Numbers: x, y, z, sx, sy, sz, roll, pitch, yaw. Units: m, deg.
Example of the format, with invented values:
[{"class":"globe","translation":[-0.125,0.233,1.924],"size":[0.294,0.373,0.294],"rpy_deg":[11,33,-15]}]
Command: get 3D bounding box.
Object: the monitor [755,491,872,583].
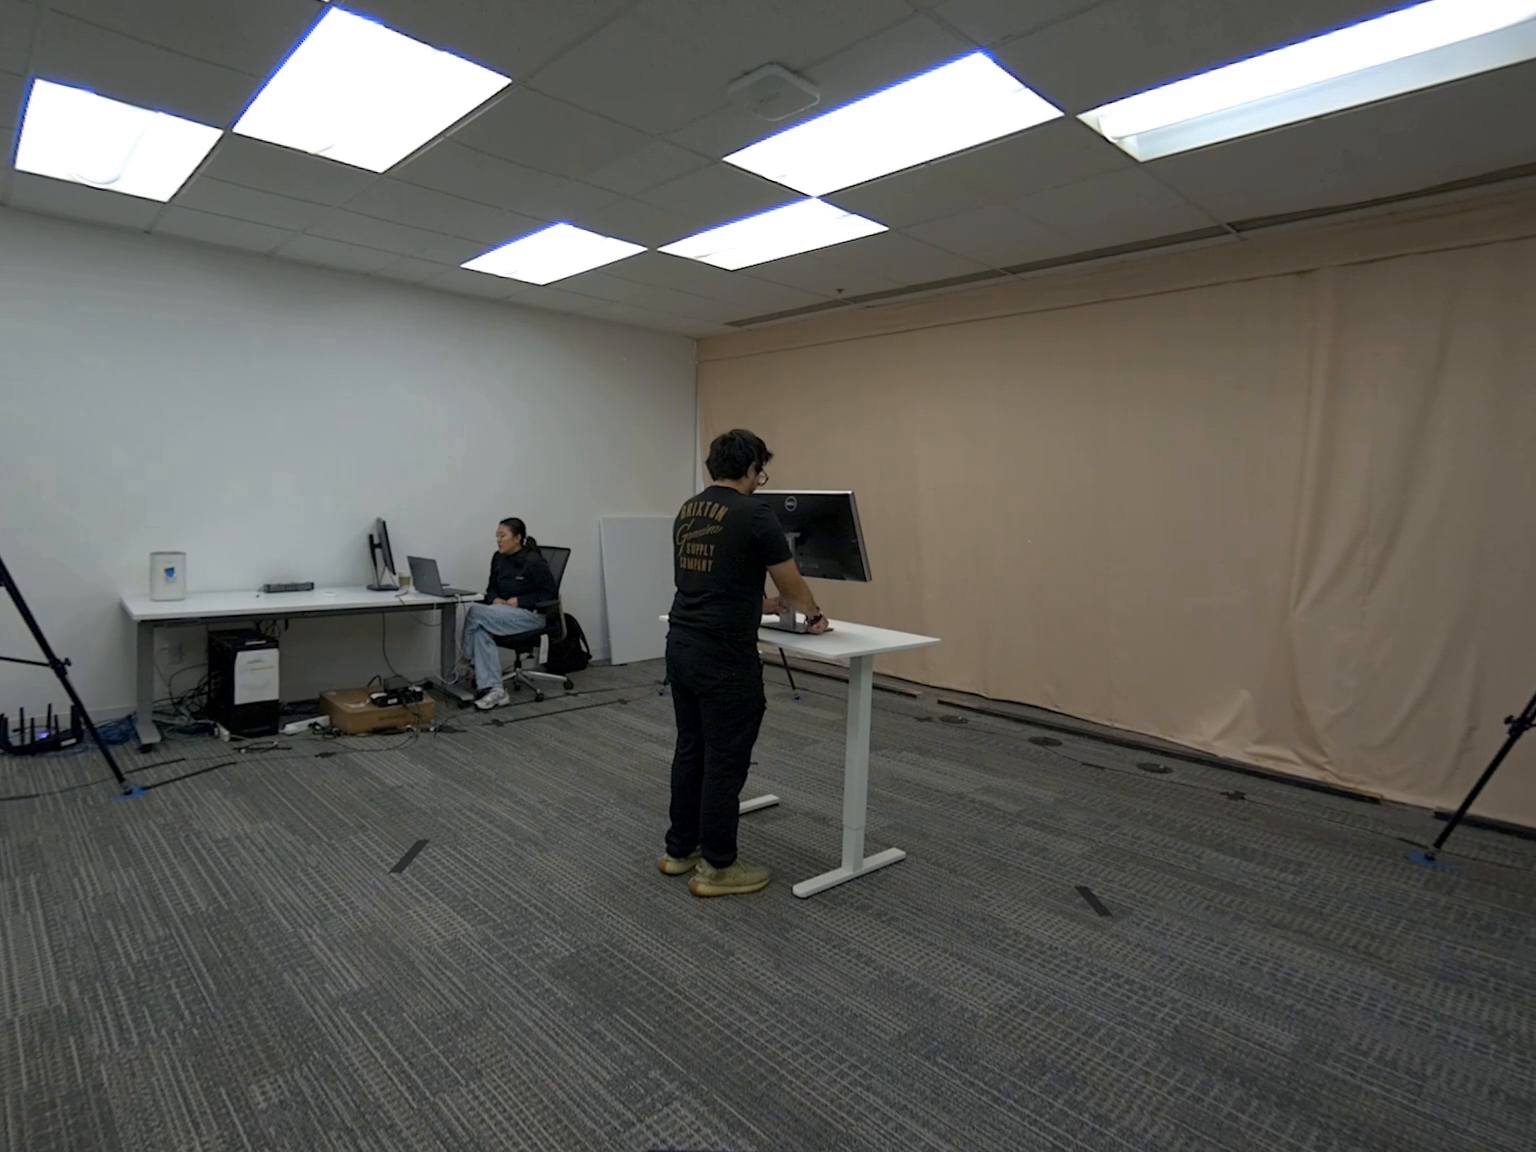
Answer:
[{"class":"monitor","translation":[0.095,-0.056,3.286],"size":[0.580,0.548,0.207],"rpy_deg":[6,17,43]}]
